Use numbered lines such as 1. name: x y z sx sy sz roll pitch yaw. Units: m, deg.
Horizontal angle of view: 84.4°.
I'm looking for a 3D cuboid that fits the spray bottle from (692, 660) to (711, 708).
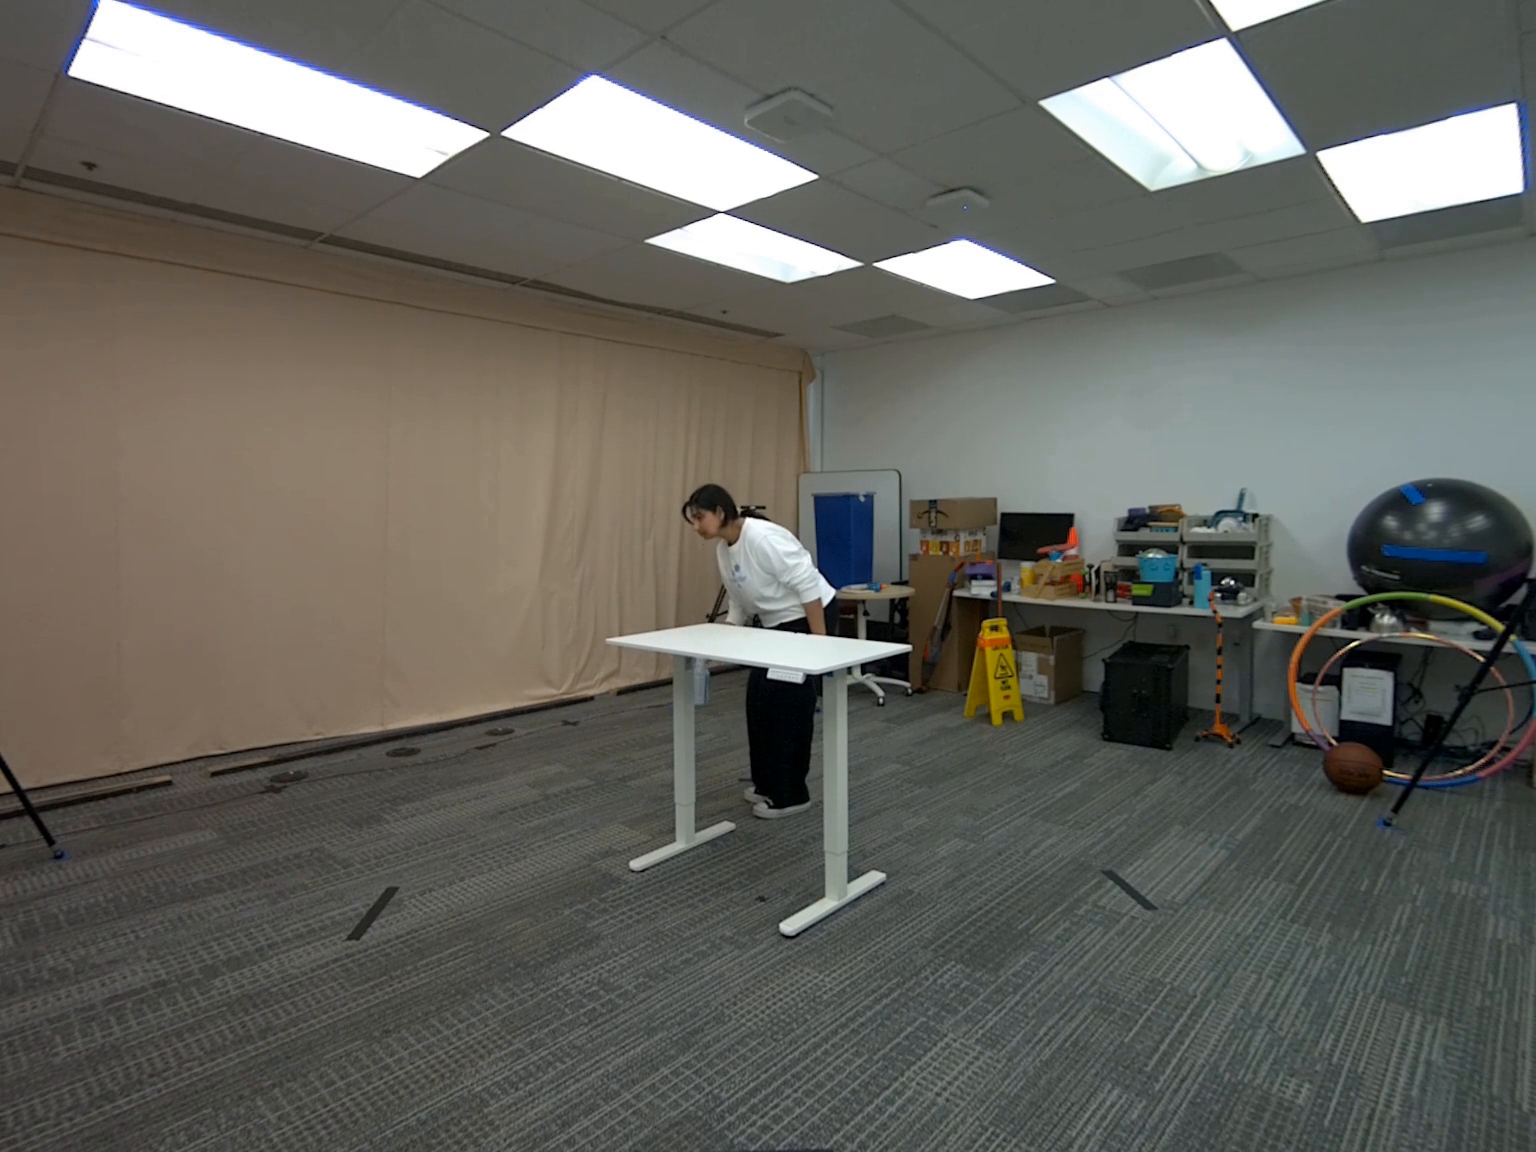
1. spray bottle: -0.306 0.459 3.913 0.084 0.297 0.093 2 -2 -42
